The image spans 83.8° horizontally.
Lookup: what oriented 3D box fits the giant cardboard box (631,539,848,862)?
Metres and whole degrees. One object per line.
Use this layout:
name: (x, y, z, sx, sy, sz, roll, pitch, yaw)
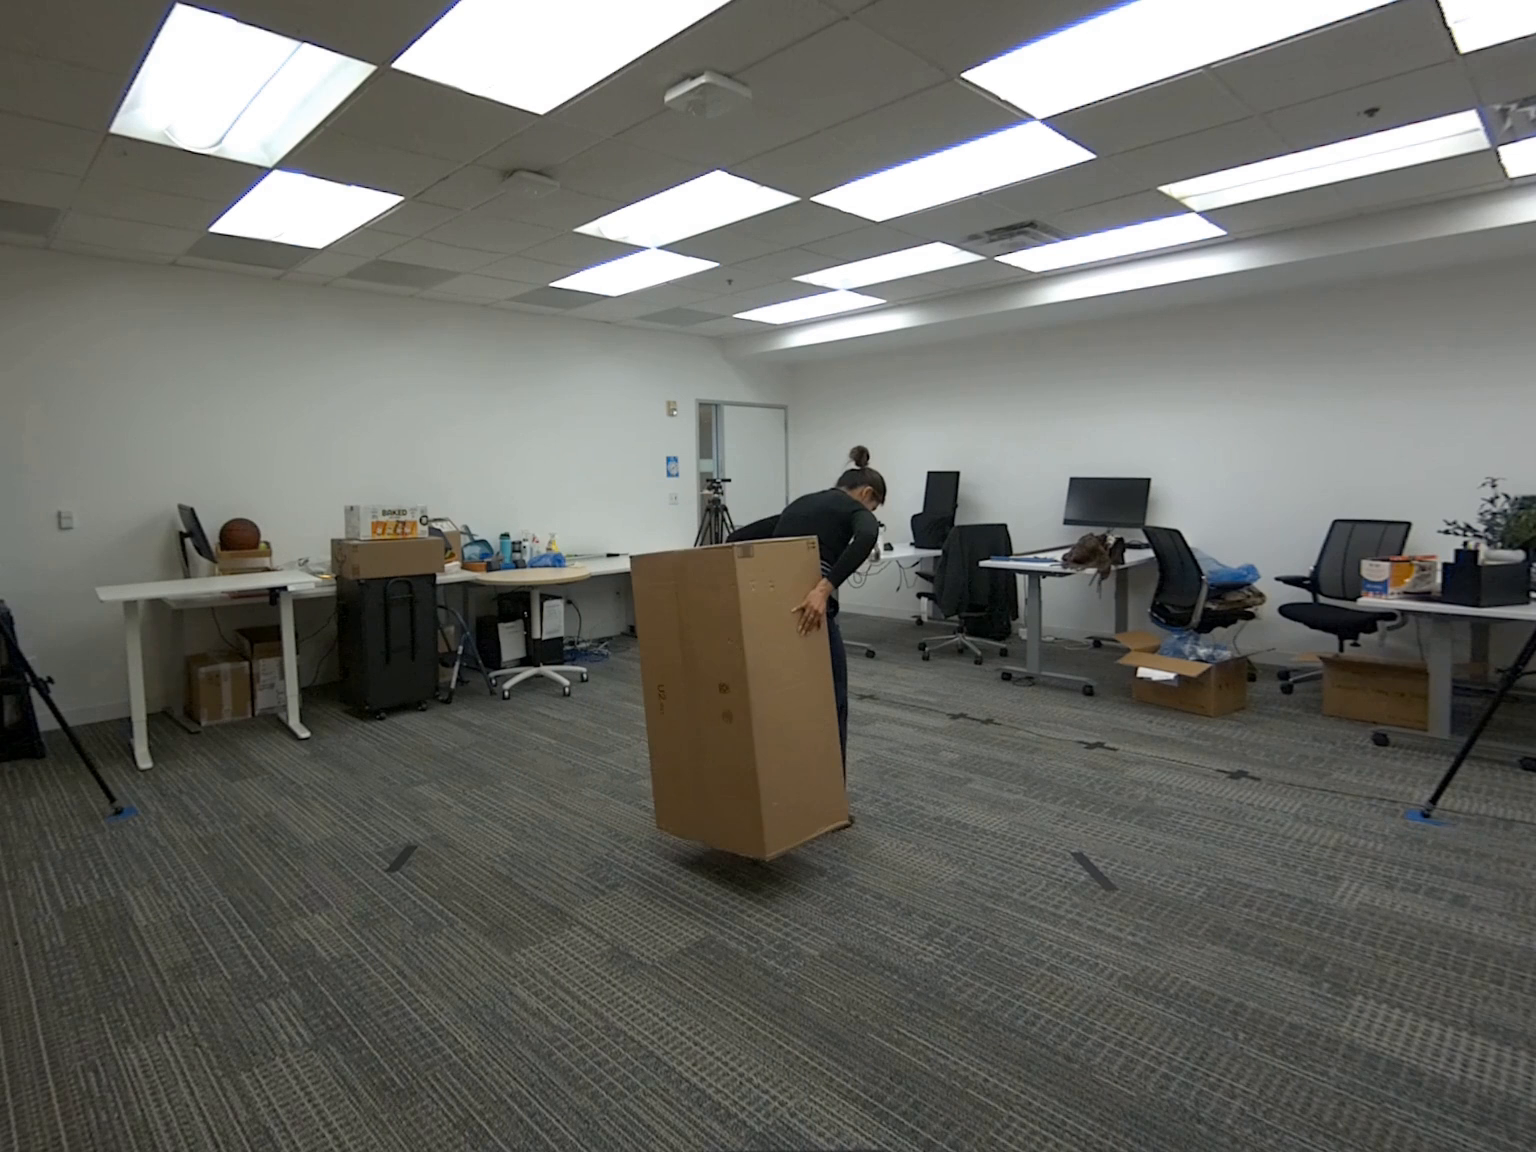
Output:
giant cardboard box: (-0.123, 0.407, 3.096, 0.415, 1.027, 0.592, -5, -1, -45)
